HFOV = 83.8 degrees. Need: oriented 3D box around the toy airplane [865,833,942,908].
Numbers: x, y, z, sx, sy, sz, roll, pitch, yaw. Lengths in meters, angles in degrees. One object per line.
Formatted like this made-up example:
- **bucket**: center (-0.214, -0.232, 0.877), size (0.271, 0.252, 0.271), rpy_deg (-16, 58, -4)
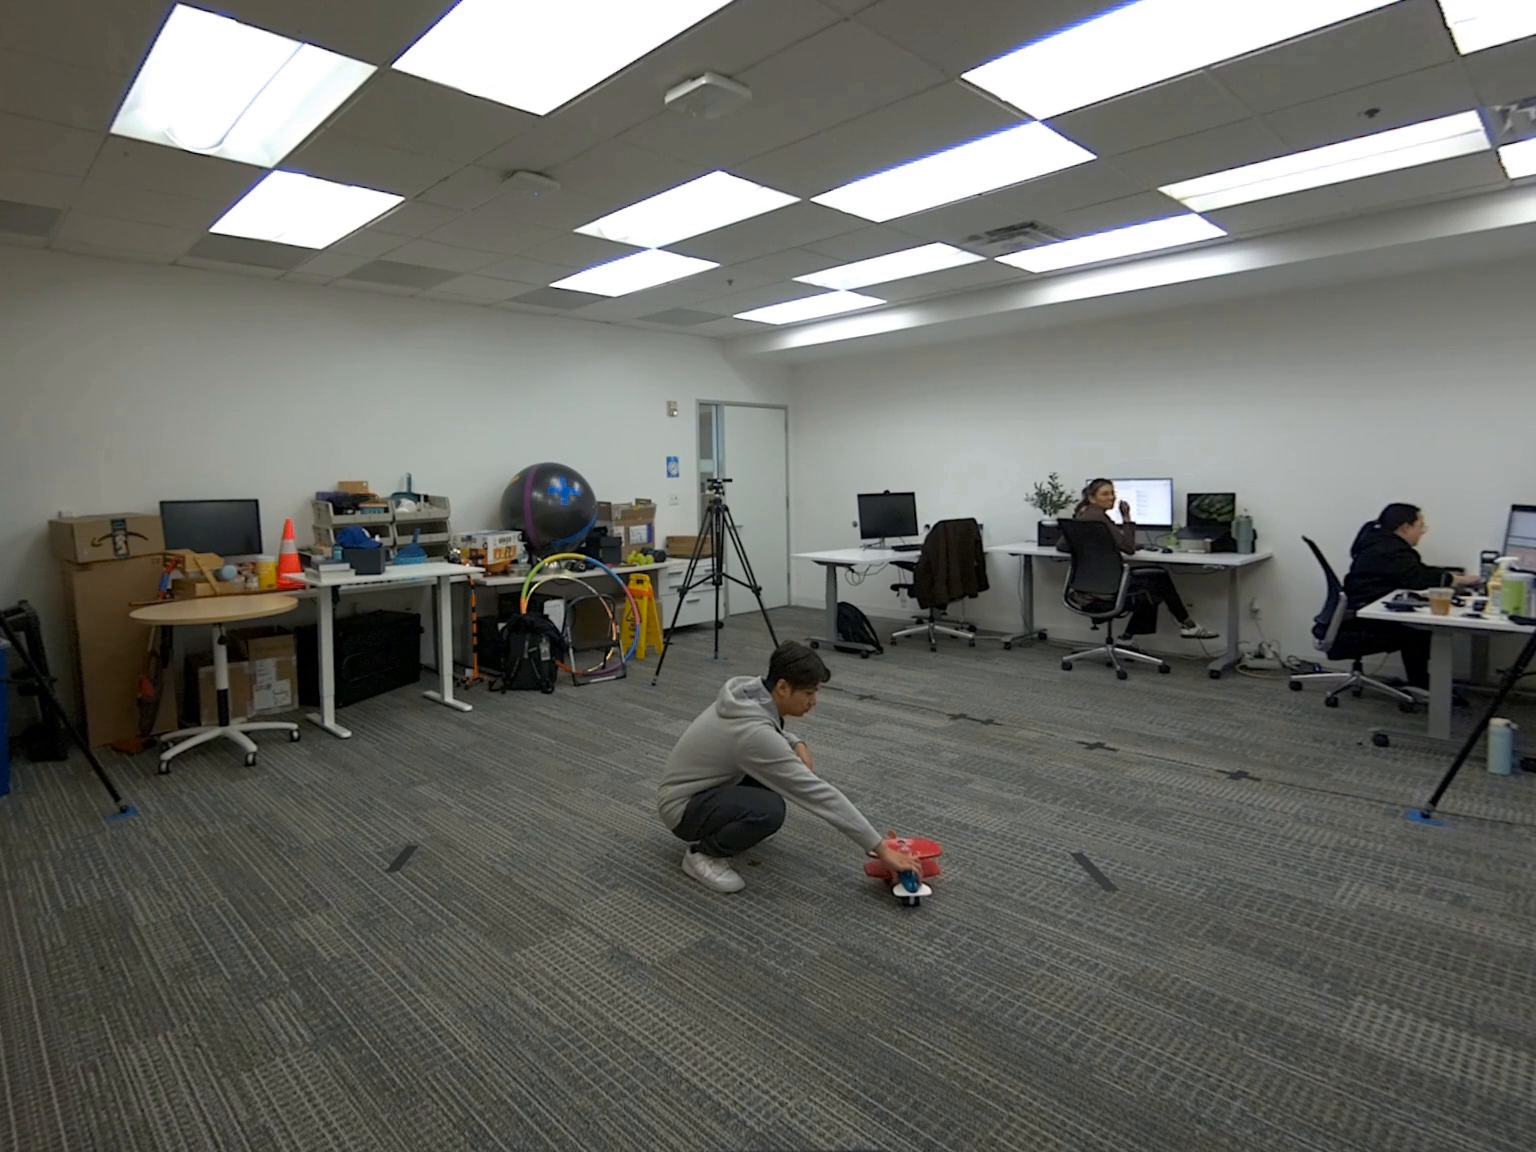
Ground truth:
- **toy airplane**: center (0.479, 0.984, 2.871), size (0.245, 0.156, 0.266), rpy_deg (-6, 7, -32)
